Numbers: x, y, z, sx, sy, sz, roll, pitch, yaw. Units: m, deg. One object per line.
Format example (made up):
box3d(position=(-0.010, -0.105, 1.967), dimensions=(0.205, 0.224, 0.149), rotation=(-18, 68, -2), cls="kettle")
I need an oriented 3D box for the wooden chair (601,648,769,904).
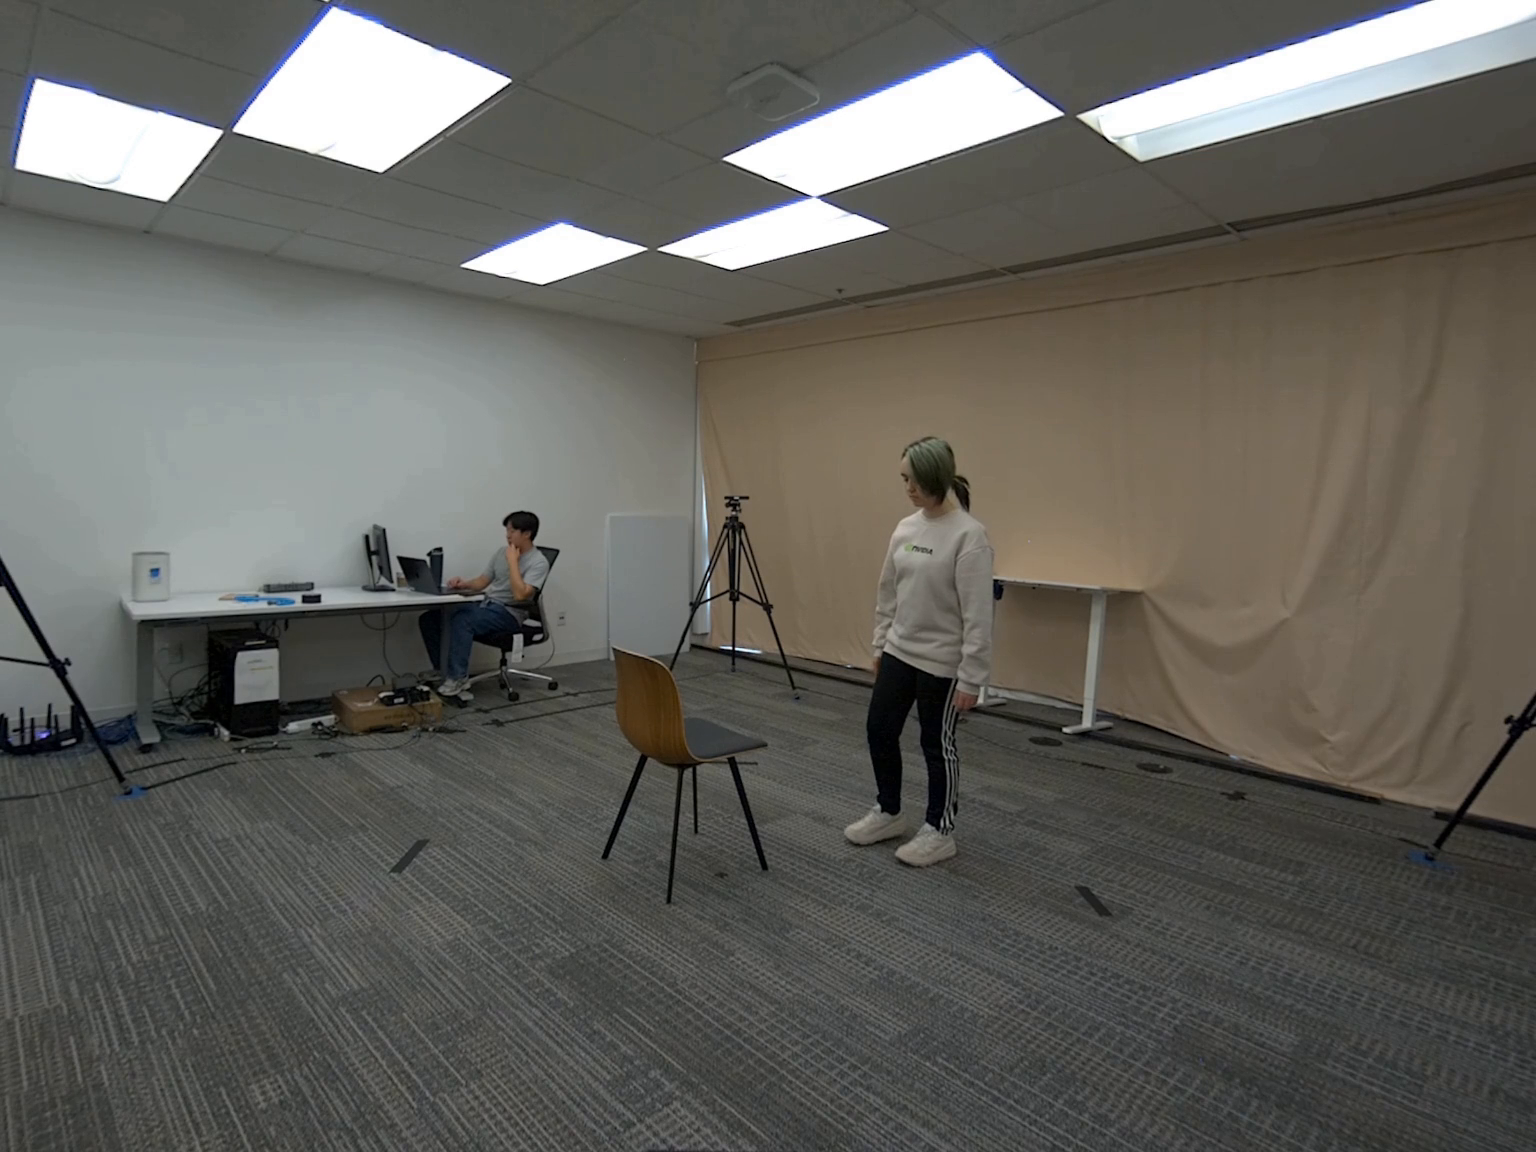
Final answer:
box3d(position=(-0.306, 0.665, 3.159), dimensions=(0.512, 0.873, 0.490), rotation=(-7, 8, -39), cls="wooden chair")
